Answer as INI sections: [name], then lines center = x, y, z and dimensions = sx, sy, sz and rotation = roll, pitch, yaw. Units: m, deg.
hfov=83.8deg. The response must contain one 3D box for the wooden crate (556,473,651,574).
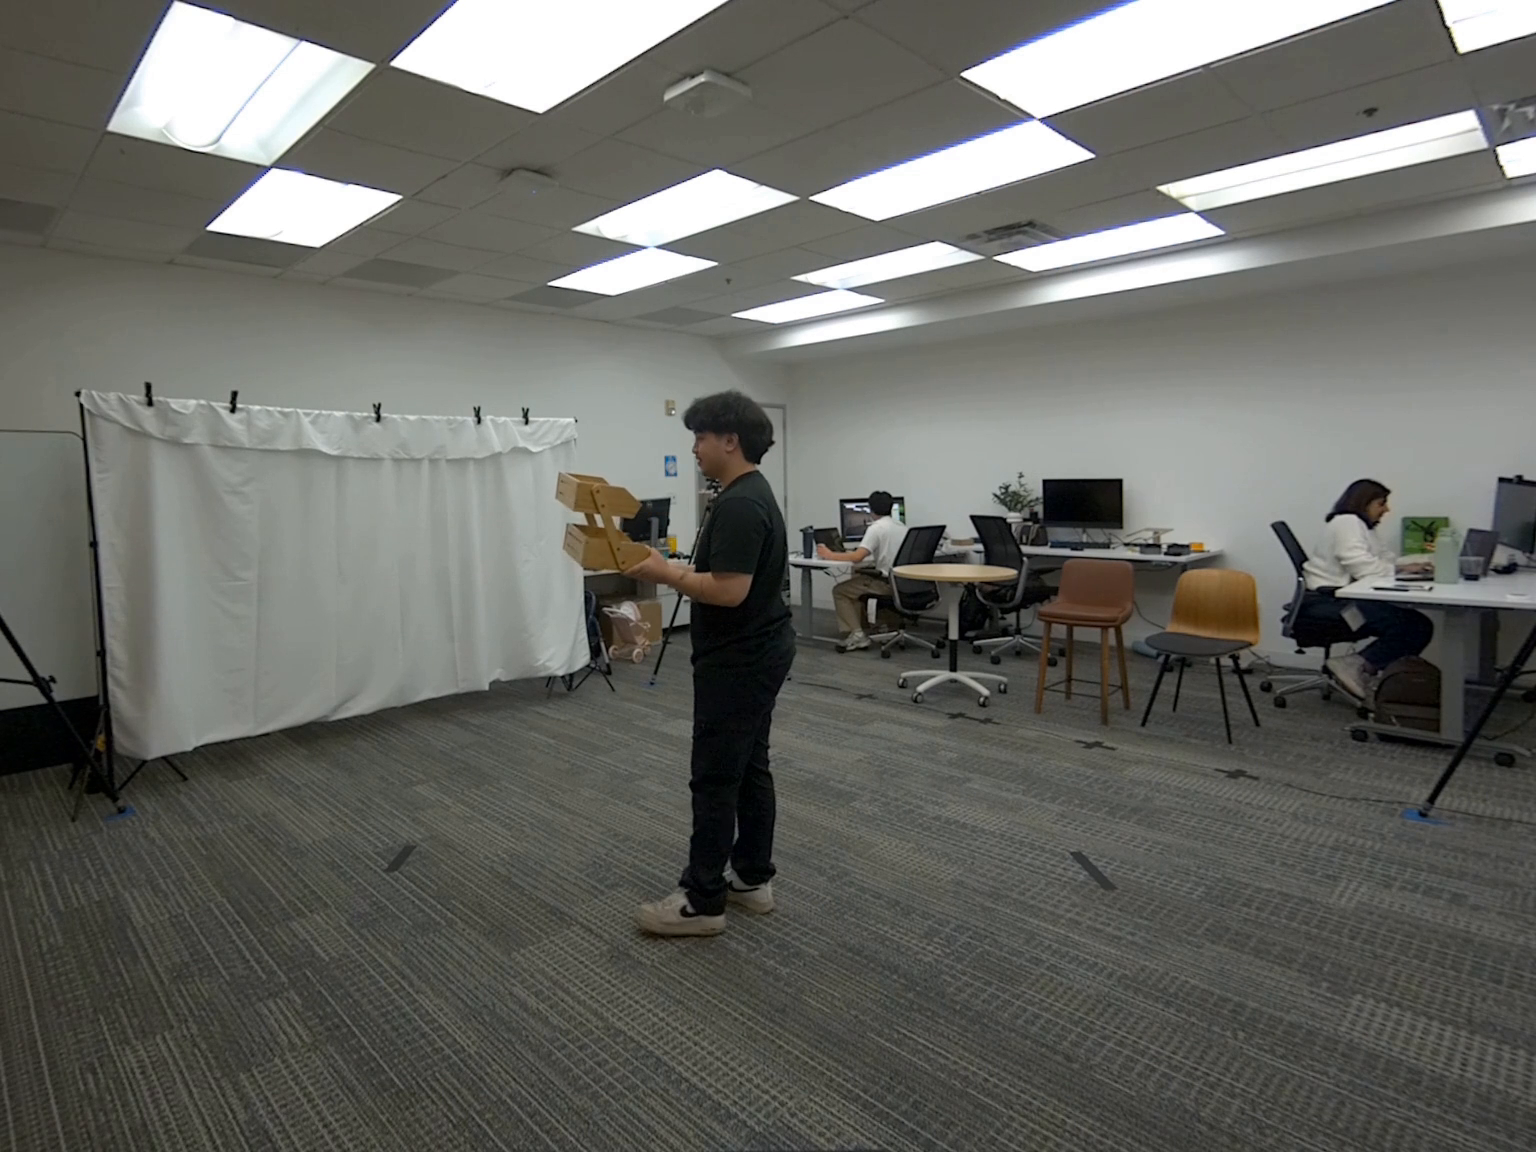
[wooden crate]
center = -0.517, -0.180, 2.772
dimensions = 0.295, 0.272, 0.334
rotation = 6, 8, -24
